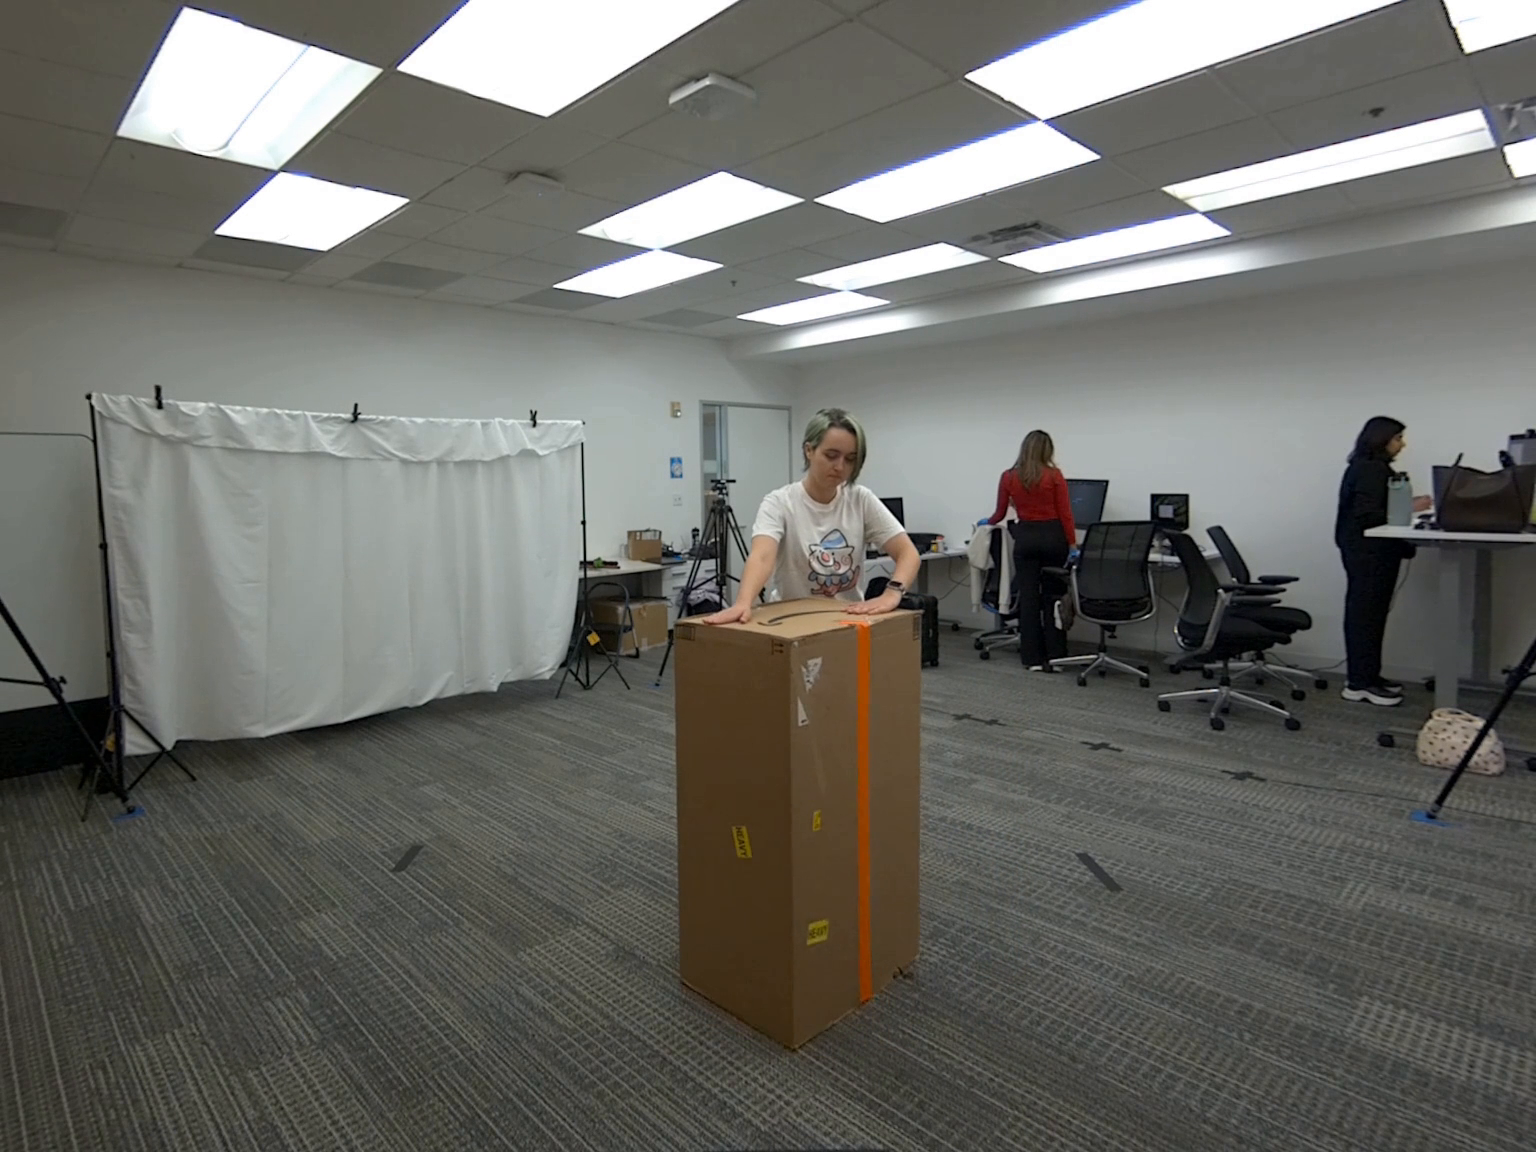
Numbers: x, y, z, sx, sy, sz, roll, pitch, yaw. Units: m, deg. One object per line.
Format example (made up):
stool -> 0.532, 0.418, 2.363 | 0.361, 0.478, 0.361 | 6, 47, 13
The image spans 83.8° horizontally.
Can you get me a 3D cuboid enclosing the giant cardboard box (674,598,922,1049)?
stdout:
giant cardboard box -> 0.095, 0.622, 2.400 | 0.460, 1.024, 0.568 | 2, 5, 43
